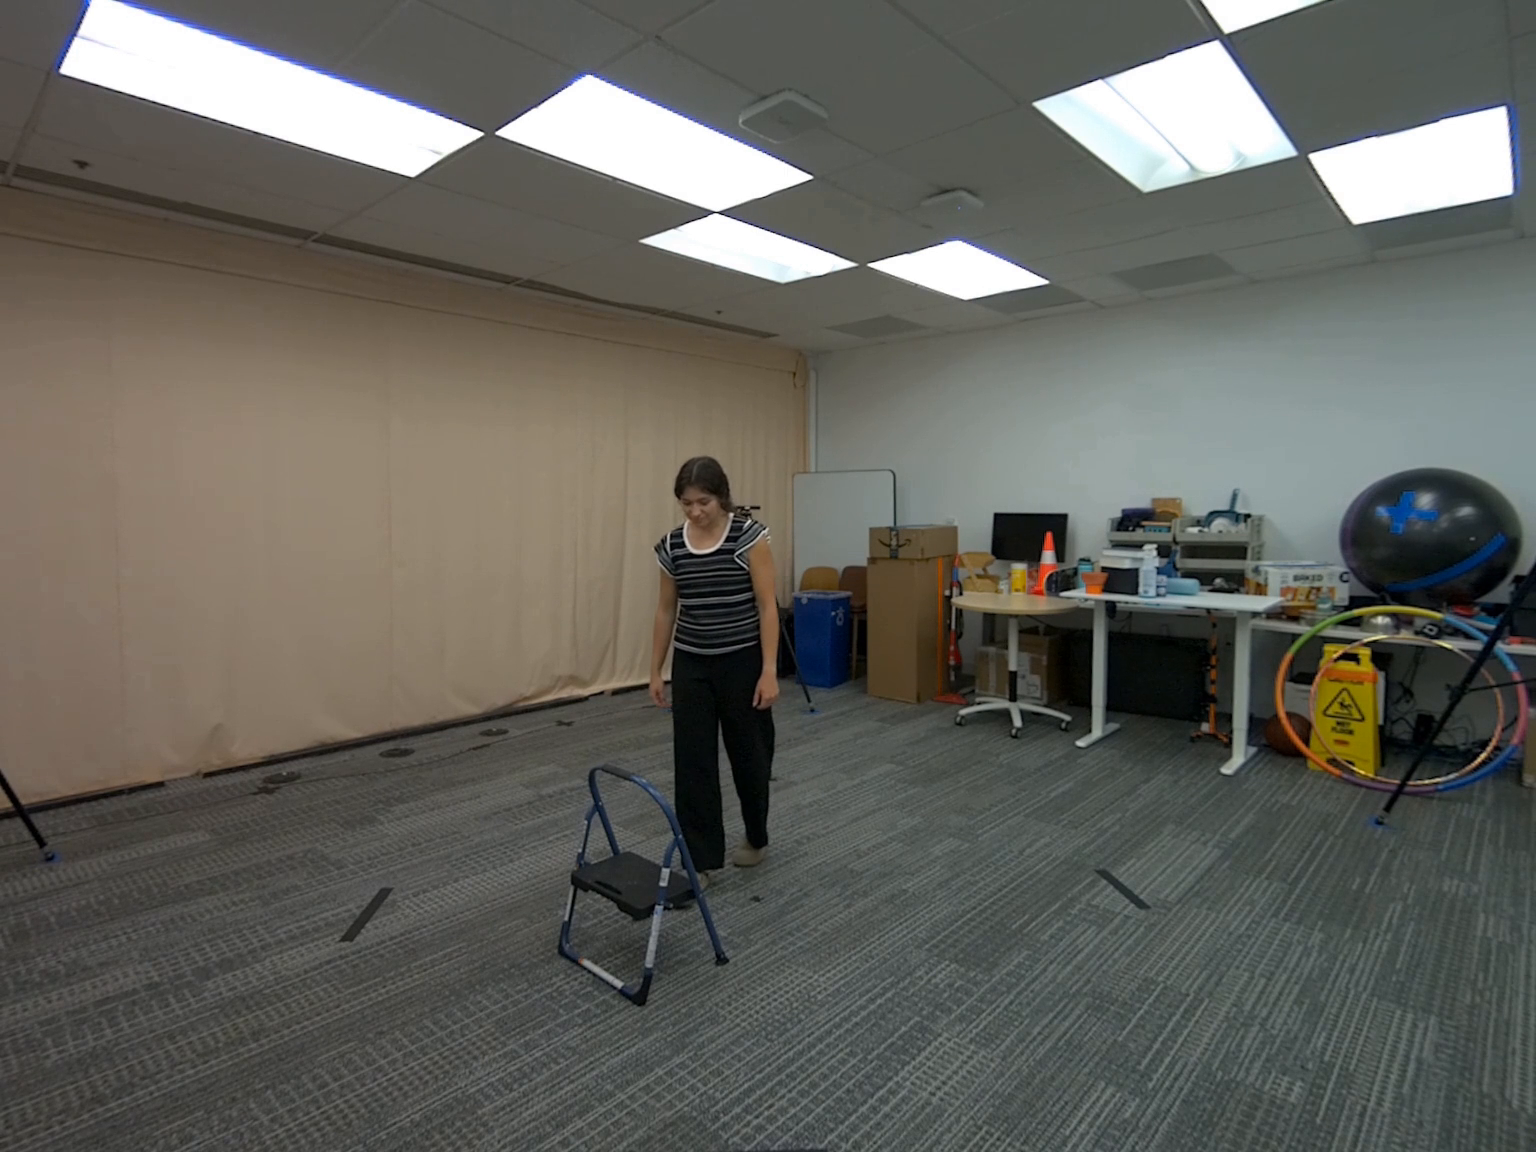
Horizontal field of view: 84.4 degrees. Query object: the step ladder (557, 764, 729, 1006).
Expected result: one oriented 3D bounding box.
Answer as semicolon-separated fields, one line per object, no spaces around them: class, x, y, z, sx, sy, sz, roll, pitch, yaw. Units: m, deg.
step ladder;-0.394;0.879;2.587;0.445;0.605;0.338;3;4;43
